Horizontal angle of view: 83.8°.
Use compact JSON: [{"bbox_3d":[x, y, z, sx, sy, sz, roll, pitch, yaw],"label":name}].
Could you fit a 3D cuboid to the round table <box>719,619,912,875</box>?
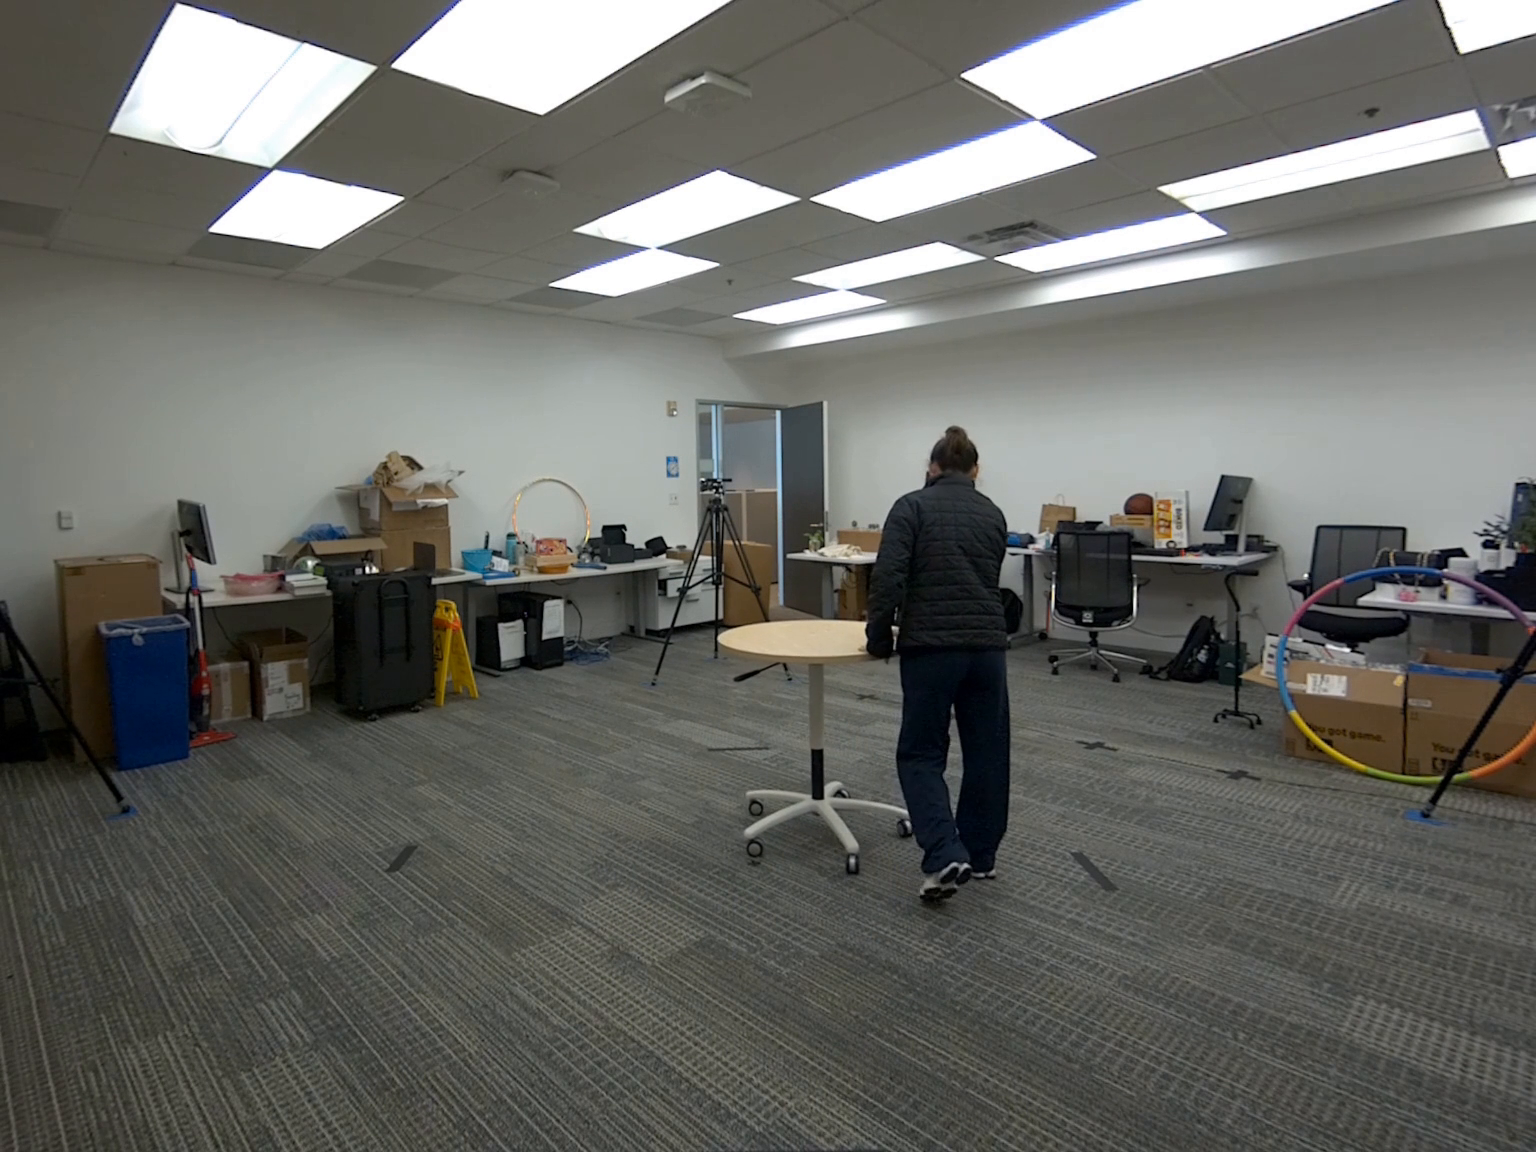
[{"bbox_3d":[0.202,0.619,3.347,0.784,0.783,0.789,-1,5,-2],"label":"round table"}]
